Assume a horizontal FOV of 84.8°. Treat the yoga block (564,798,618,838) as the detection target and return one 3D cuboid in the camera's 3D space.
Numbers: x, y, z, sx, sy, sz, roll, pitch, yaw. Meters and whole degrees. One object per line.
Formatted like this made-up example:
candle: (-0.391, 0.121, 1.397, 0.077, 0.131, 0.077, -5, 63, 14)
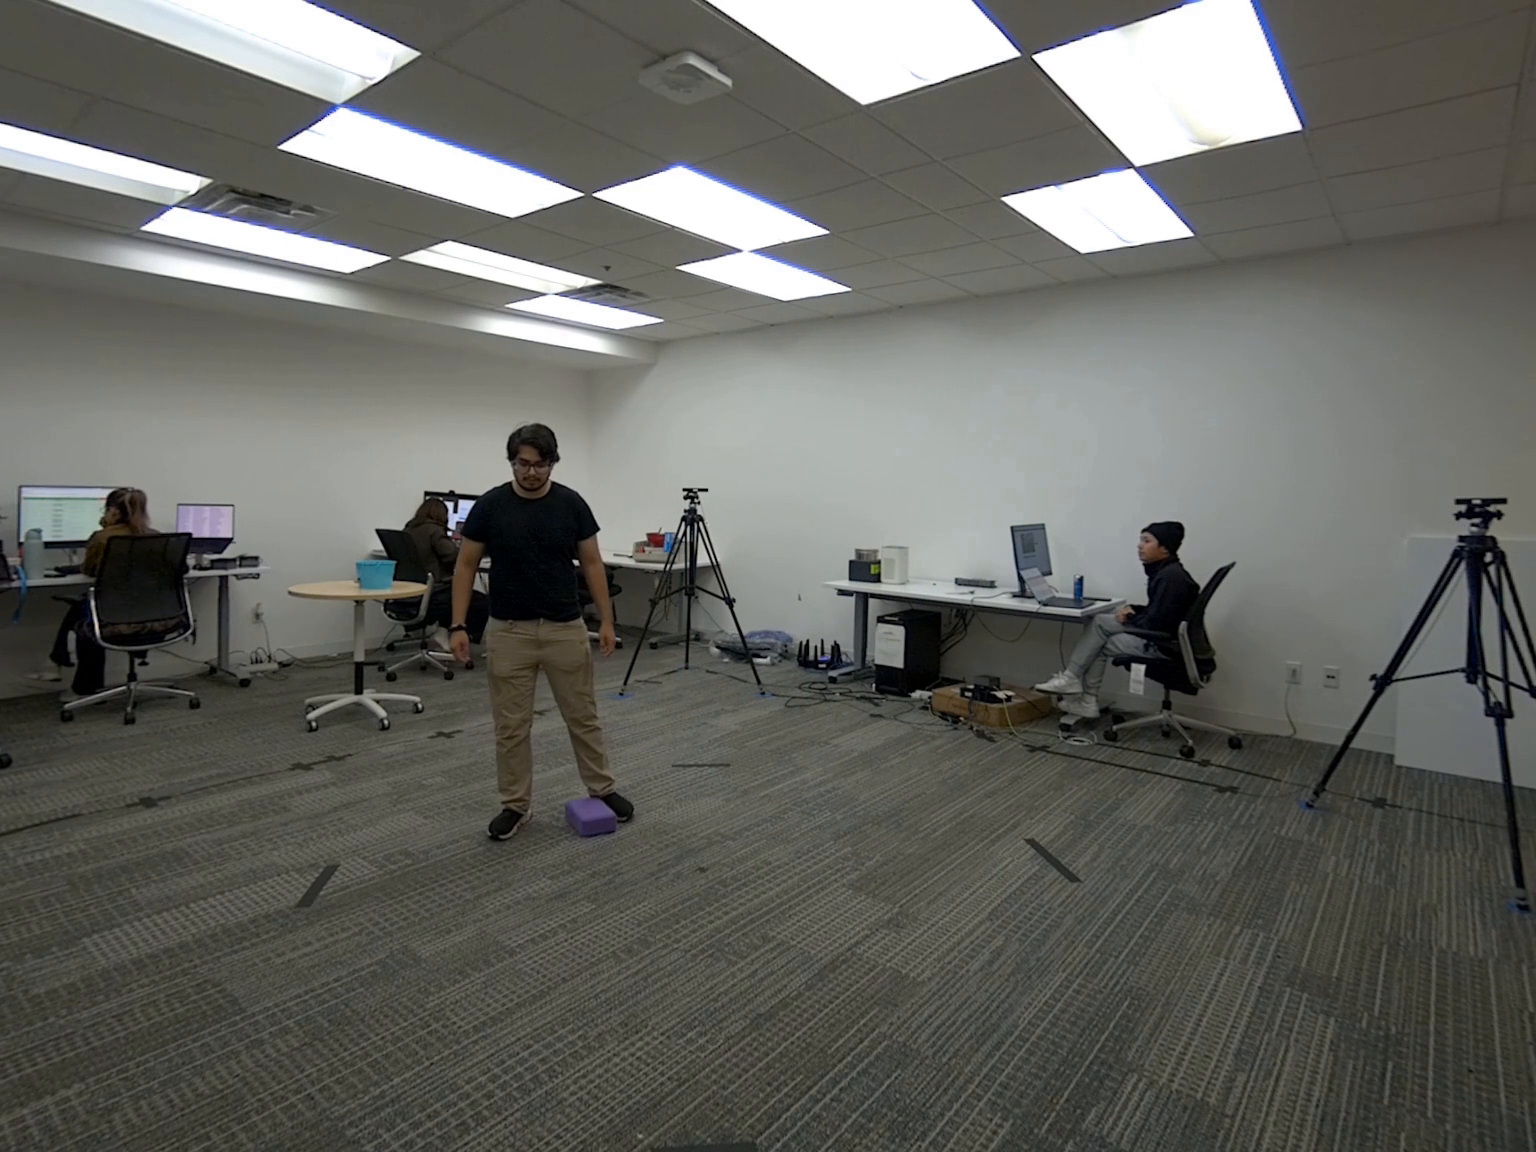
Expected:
yoga block: (-0.743, 0.984, 3.492, 0.145, 0.076, 0.236, -1, 5, -30)
